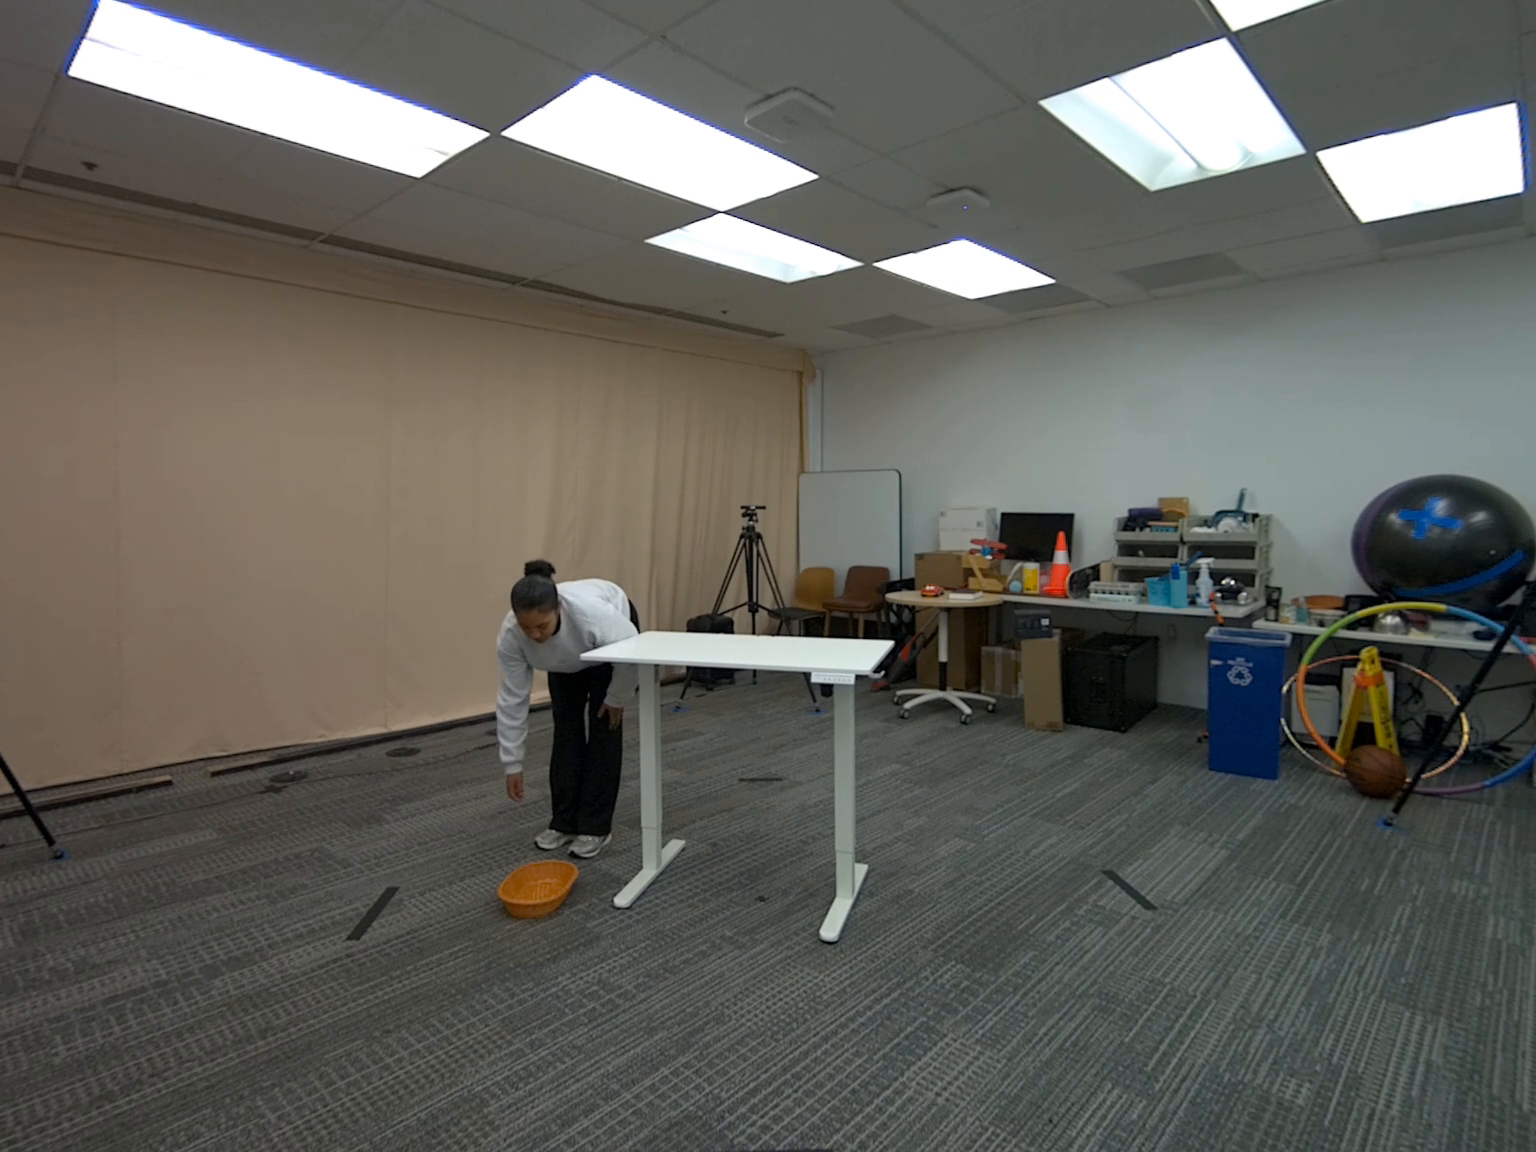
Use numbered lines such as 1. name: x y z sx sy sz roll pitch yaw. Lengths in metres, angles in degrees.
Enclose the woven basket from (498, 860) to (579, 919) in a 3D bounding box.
1. woven basket: -0.813 1.110 2.988 0.255 0.073 0.348 0 4 8
